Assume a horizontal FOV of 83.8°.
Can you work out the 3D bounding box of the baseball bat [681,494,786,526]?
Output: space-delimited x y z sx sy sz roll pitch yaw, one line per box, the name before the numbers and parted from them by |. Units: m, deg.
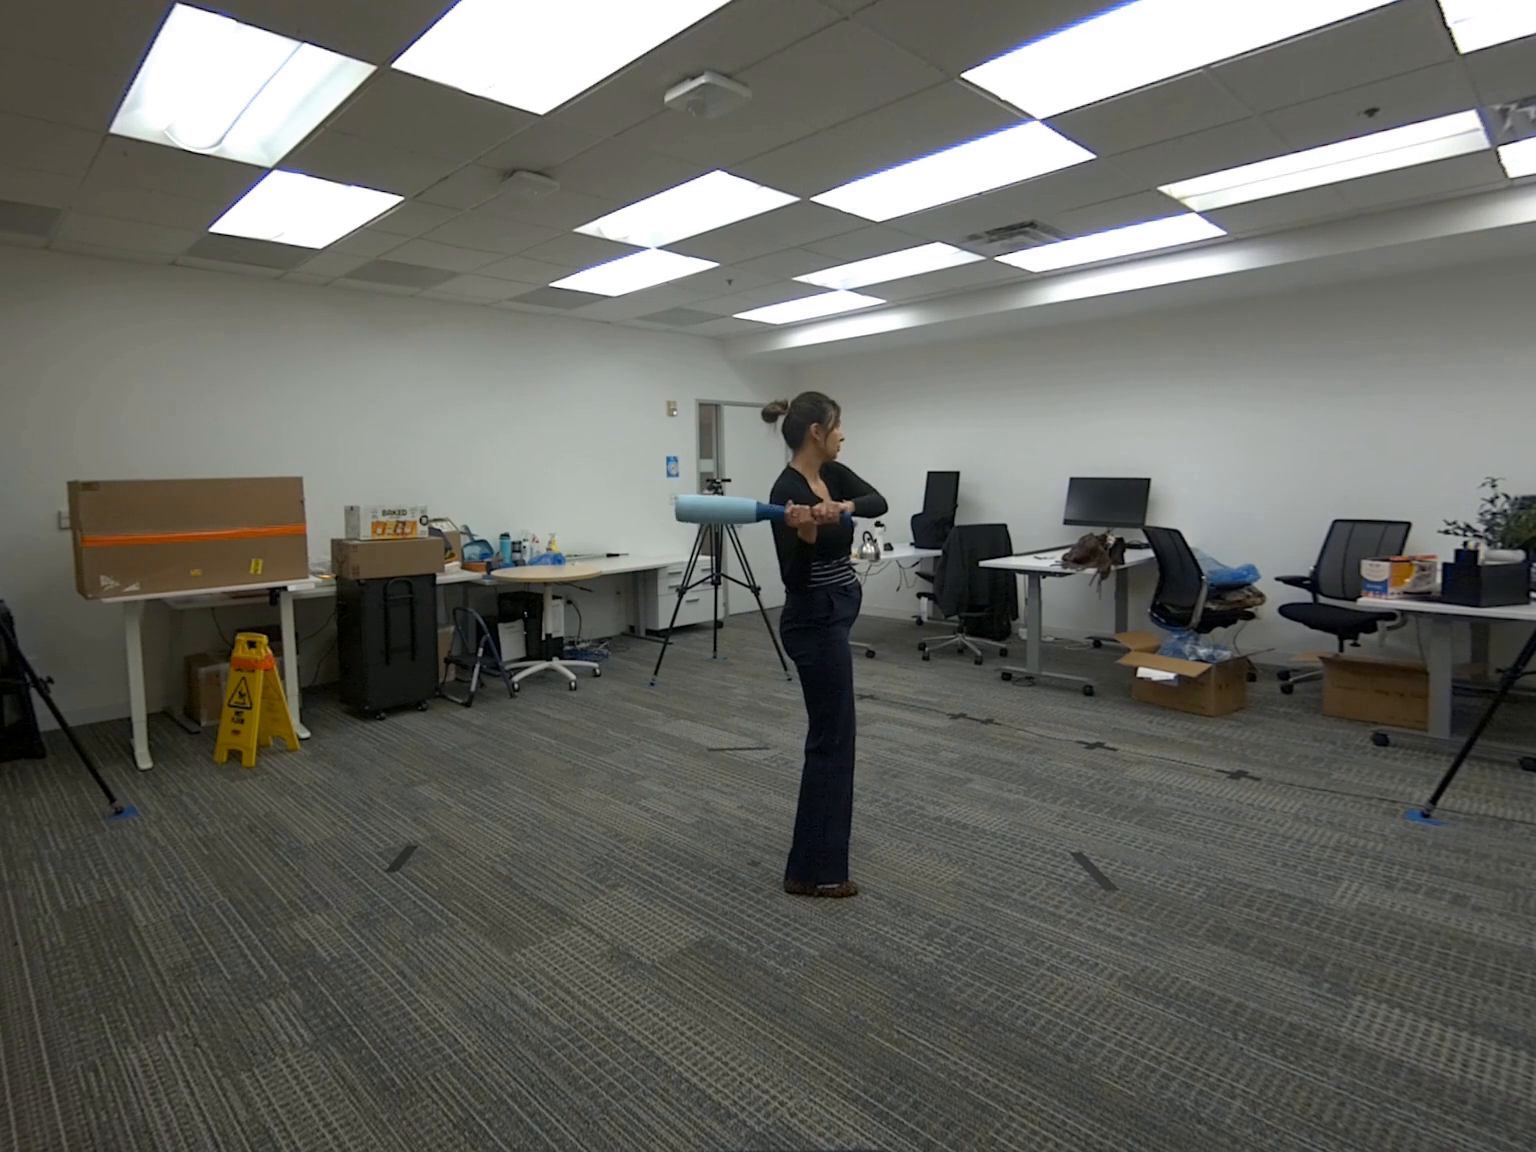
baseball bat | 0.034 -0.188 2.631 0.544 0.089 0.089 3 5 2
